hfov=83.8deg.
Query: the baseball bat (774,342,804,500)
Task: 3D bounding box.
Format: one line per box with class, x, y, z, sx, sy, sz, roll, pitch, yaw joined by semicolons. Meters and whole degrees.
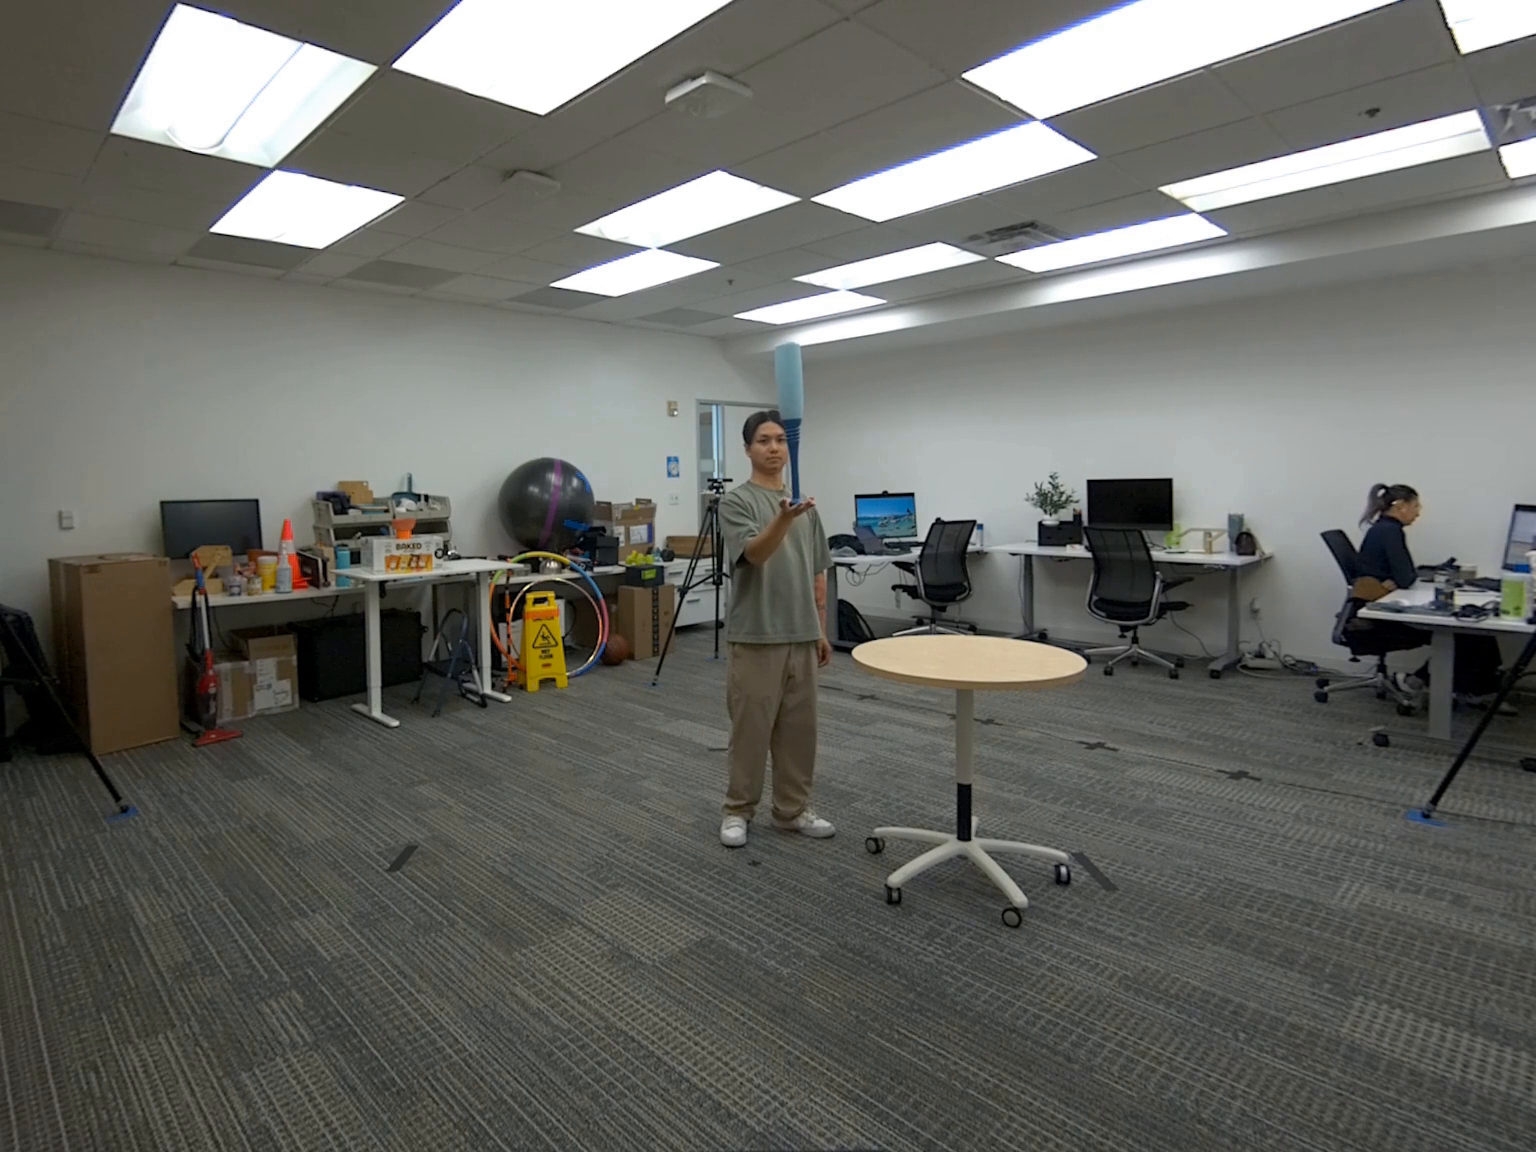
baseball bat;0.079;-0.501;2.823;0.089;0.541;0.089;-3;4;-1
